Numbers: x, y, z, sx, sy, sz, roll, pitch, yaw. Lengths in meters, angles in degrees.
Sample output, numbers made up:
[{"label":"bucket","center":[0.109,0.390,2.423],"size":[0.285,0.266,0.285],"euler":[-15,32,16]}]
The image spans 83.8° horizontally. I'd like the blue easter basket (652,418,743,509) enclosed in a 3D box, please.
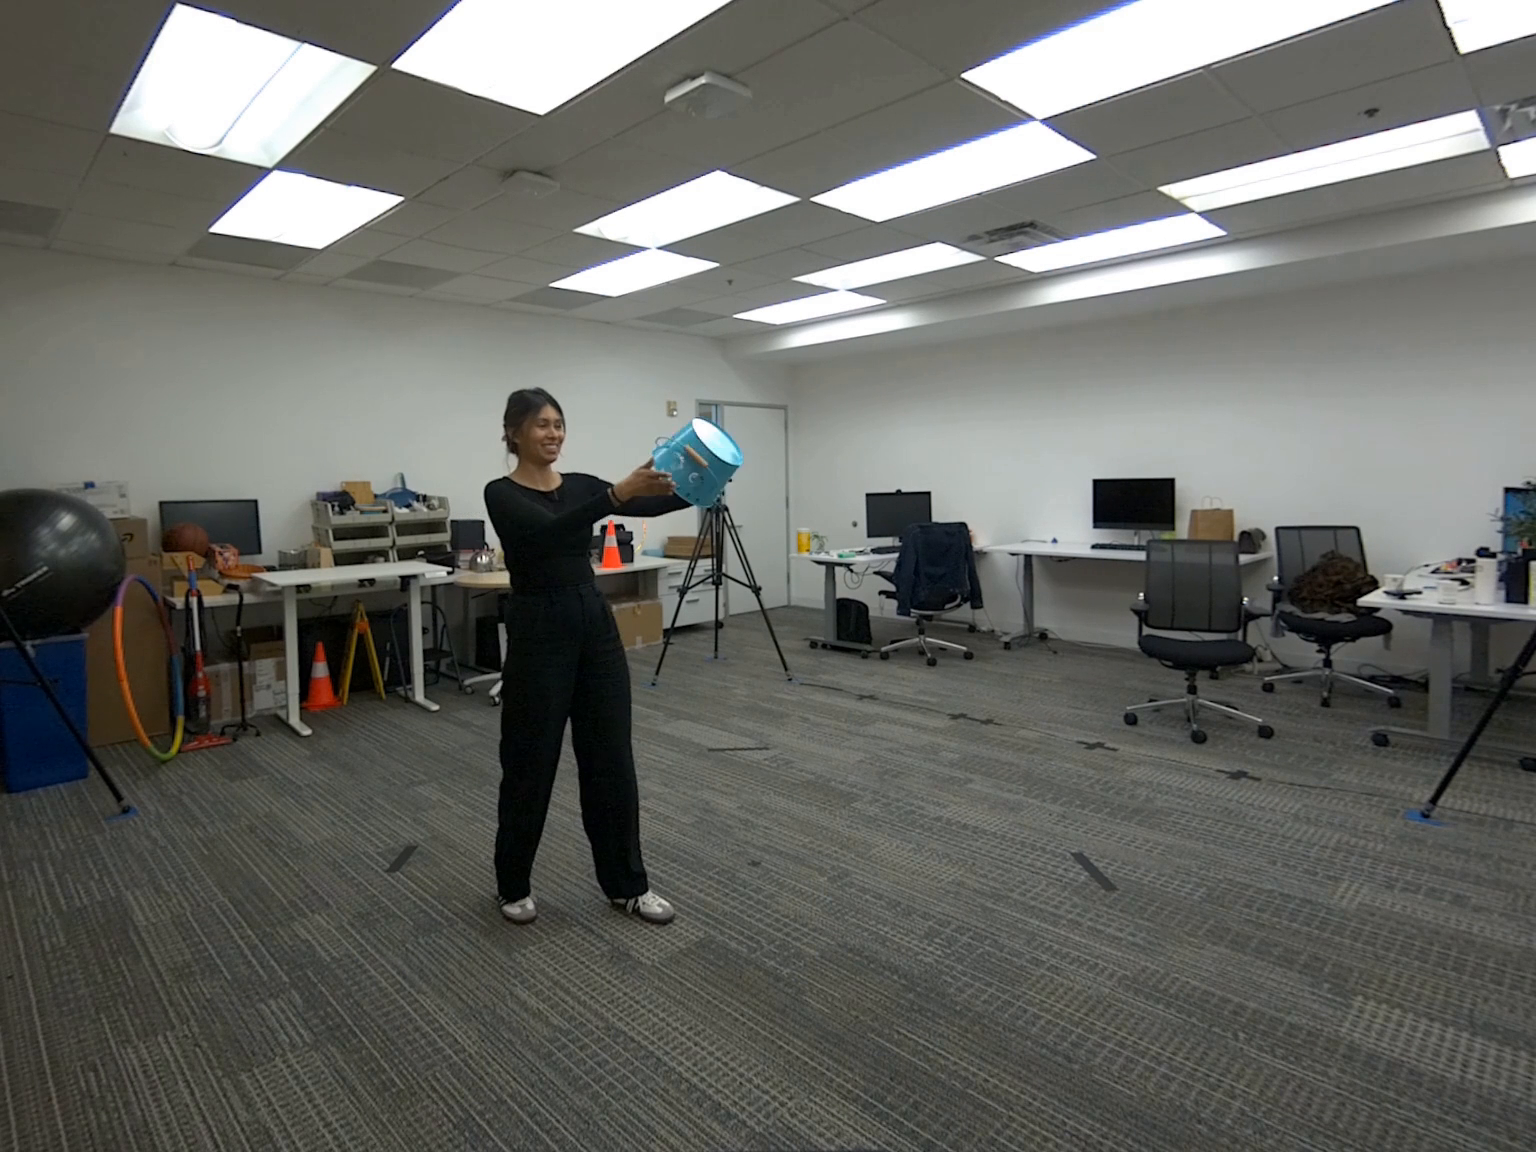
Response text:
[{"label":"blue easter basket","center":[-0.174,-0.320,2.369],"size":[0.156,0.249,0.238],"euler":[-45,-17,25]}]
